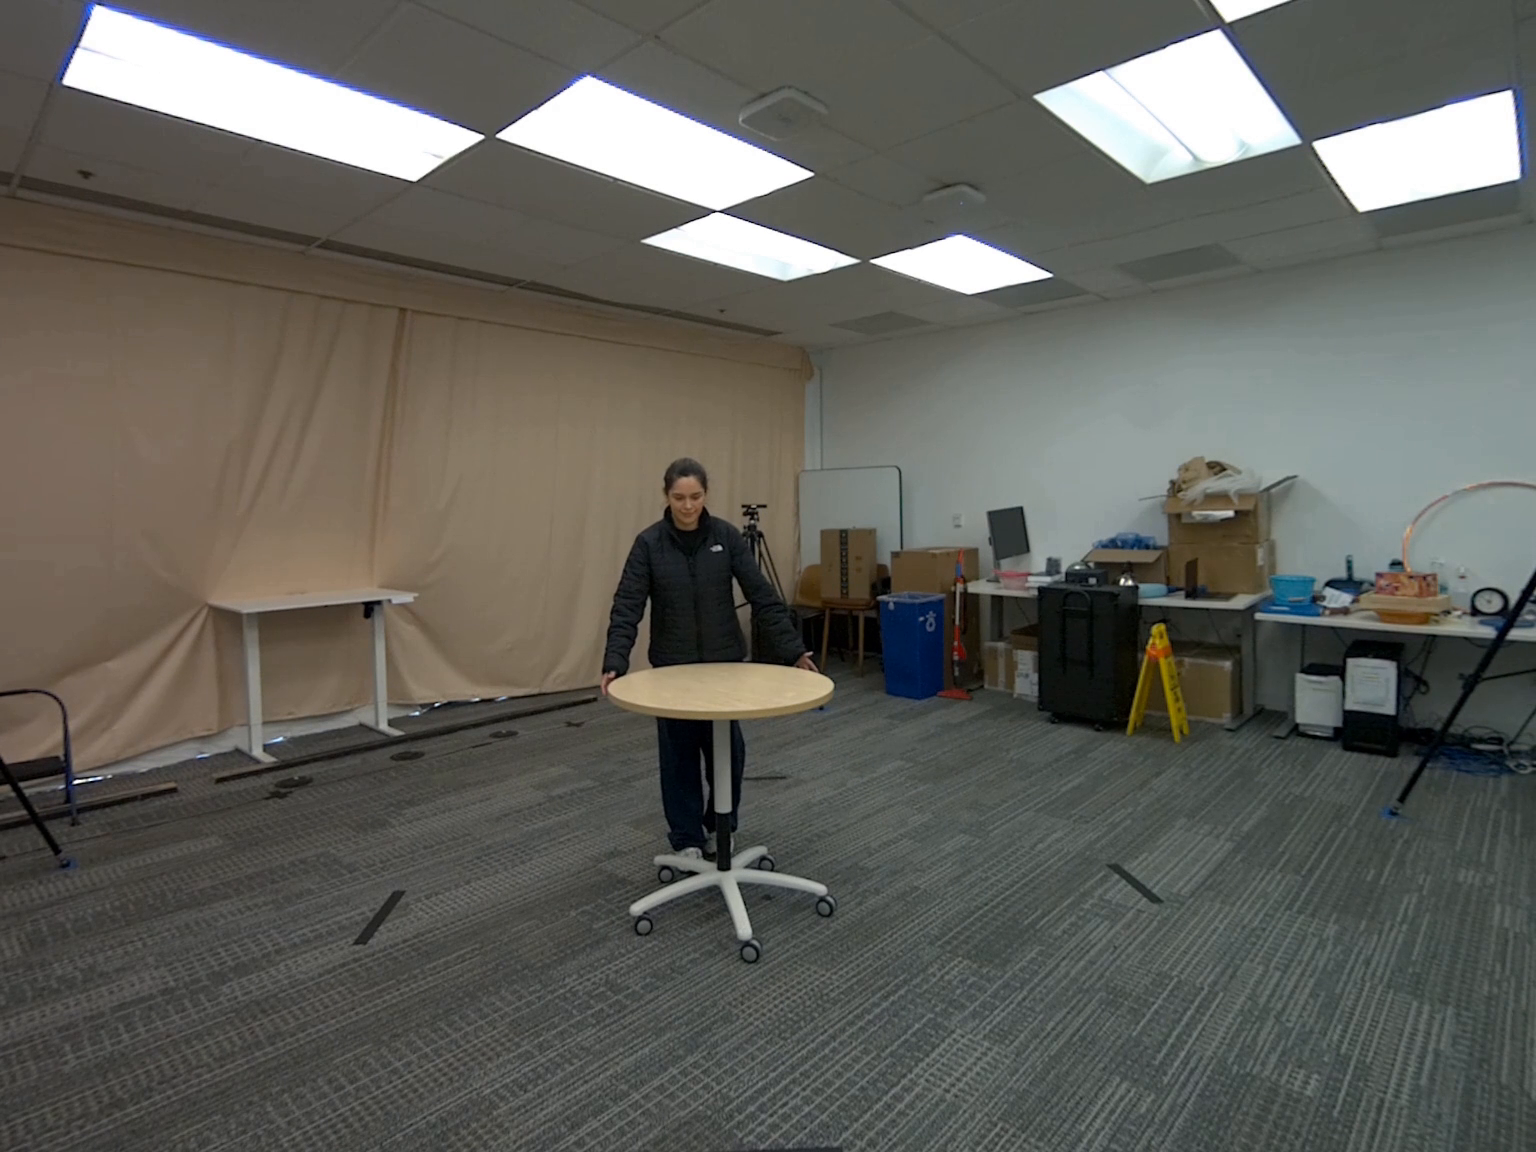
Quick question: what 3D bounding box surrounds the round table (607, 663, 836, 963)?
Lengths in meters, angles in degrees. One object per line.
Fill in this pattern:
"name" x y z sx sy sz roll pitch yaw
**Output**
"round table" -0.155 0.752 2.899 0.784 0.785 0.788 -1 4 -2
